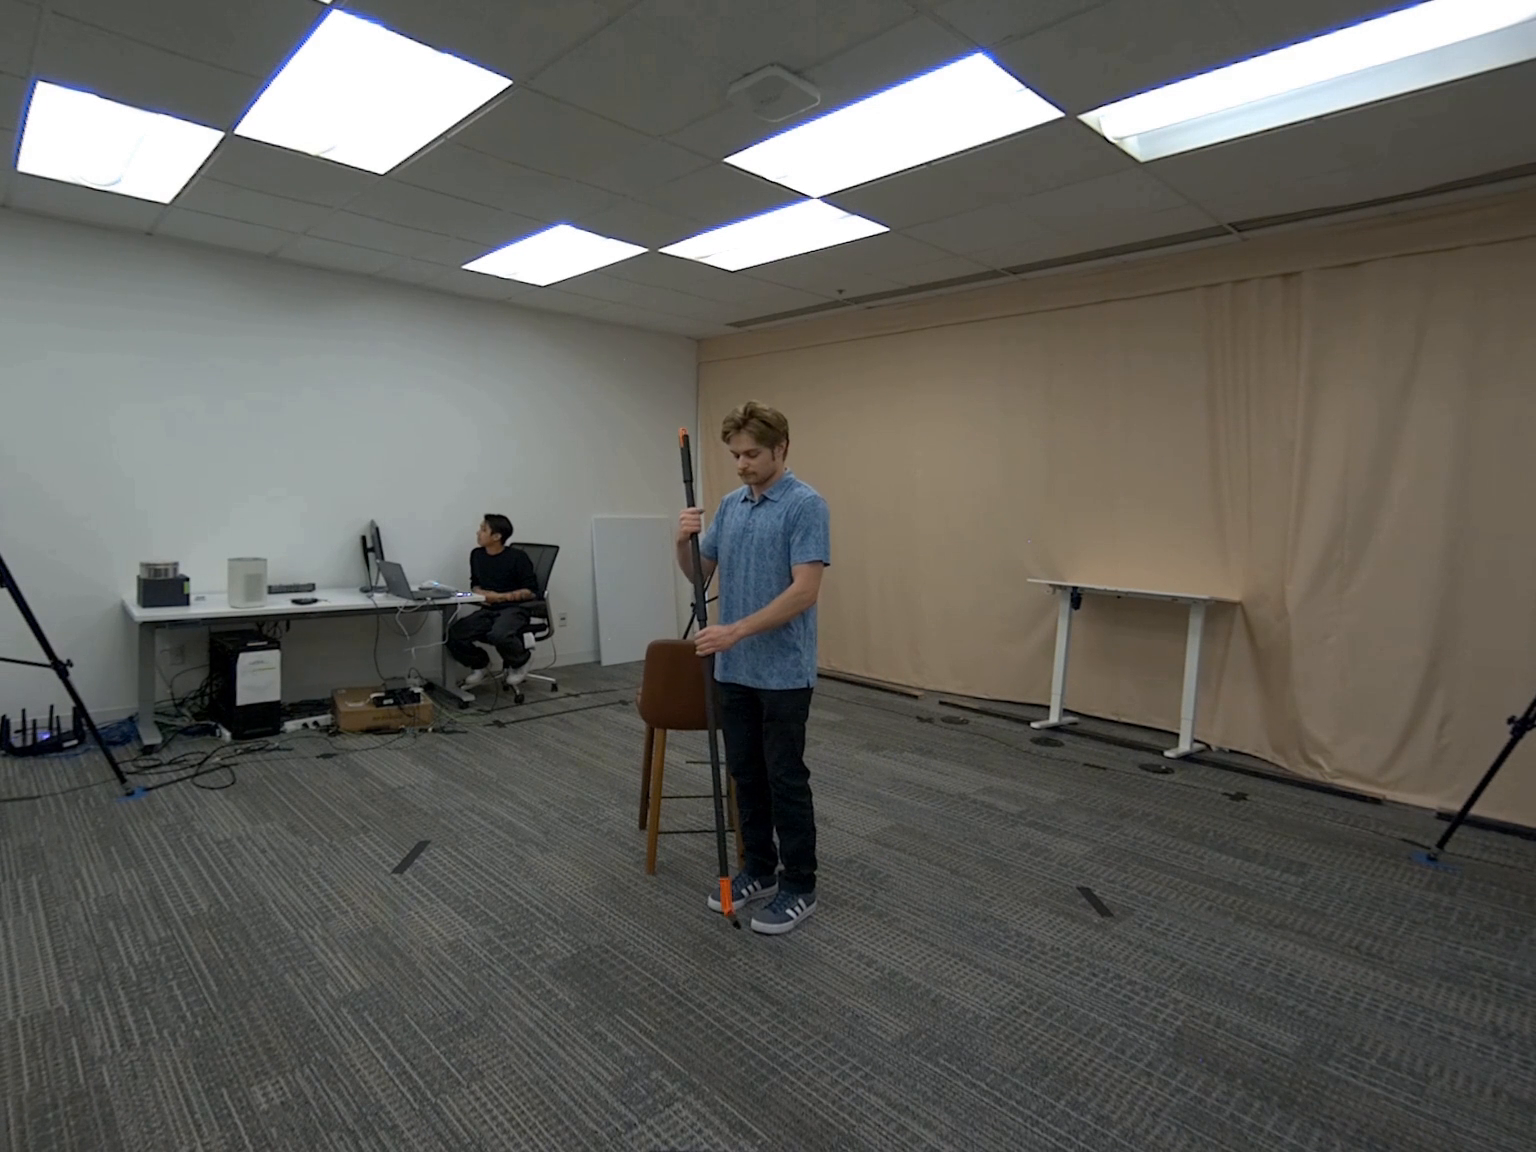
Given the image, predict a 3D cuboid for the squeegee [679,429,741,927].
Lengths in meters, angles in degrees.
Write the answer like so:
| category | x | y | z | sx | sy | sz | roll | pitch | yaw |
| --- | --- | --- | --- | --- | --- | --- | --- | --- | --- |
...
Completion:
| category | x | y | z | sx | sy | sz | roll | pitch | yaw |
| --- | --- | --- | --- | --- | --- | --- | --- | --- | --- |
| squeegee | -0.209 | 0.288 | 2.623 | 0.053 | 1.555 | 0.433 | -9 | -13 | -2 |
